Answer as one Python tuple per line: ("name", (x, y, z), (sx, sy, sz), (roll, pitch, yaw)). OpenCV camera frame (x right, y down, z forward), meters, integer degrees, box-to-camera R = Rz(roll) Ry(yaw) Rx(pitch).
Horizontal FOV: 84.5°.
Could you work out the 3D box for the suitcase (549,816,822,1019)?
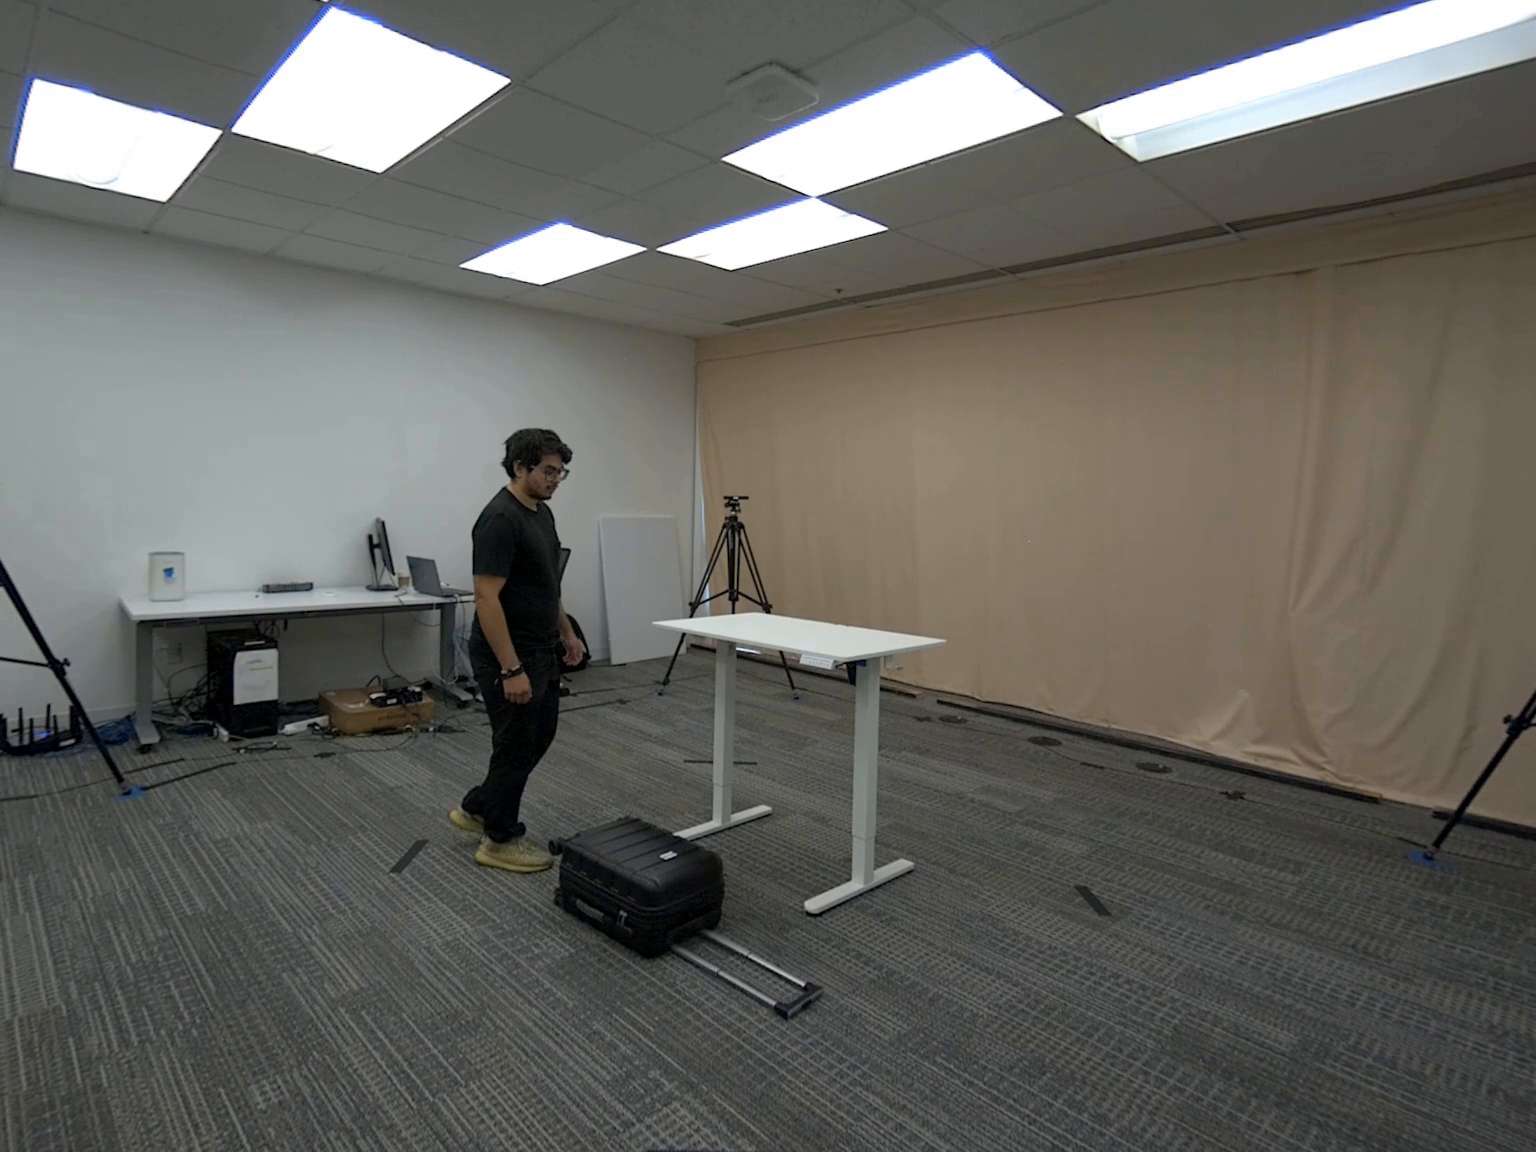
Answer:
("suitcase", (-0.273, 1.020, 2.628), (1.003, 0.256, 0.375), (4, 4, 42))
